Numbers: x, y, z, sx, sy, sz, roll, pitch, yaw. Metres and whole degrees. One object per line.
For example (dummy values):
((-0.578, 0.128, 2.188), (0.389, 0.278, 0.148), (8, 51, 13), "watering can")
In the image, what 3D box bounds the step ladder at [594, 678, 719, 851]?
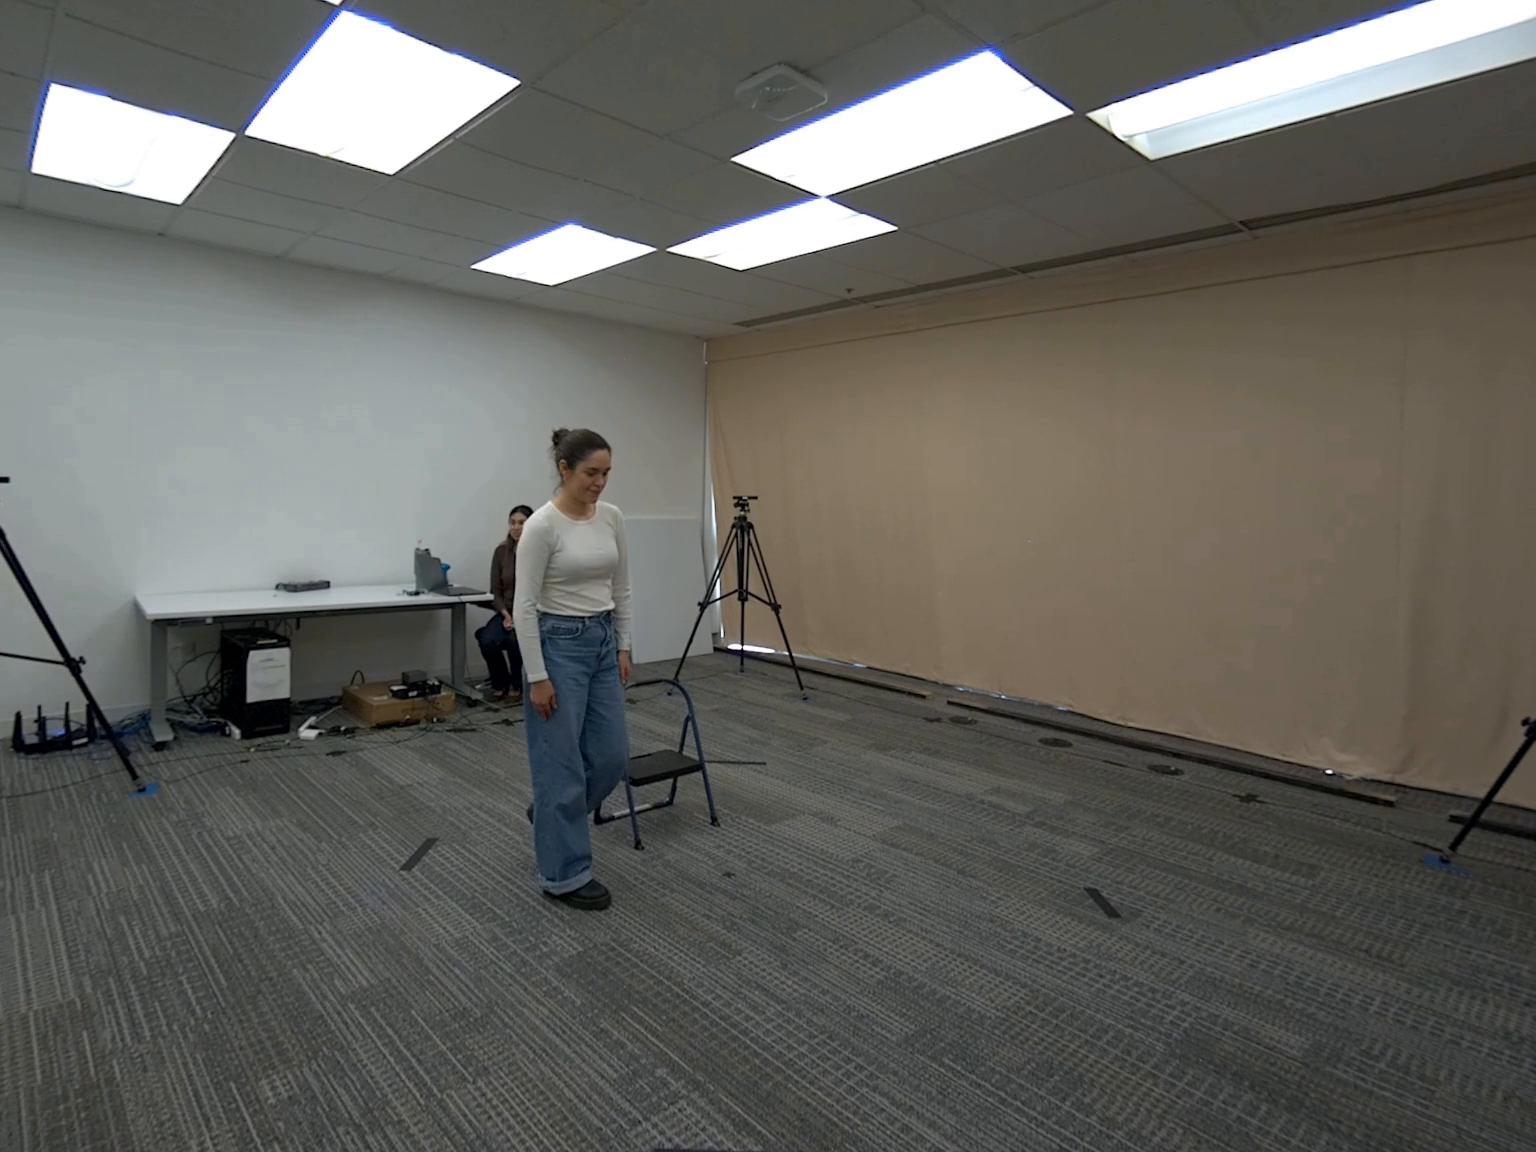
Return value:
((-0.470, 0.753, 3.553), (0.421, 0.605, 0.358), (-2, 4, -44), "step ladder")
